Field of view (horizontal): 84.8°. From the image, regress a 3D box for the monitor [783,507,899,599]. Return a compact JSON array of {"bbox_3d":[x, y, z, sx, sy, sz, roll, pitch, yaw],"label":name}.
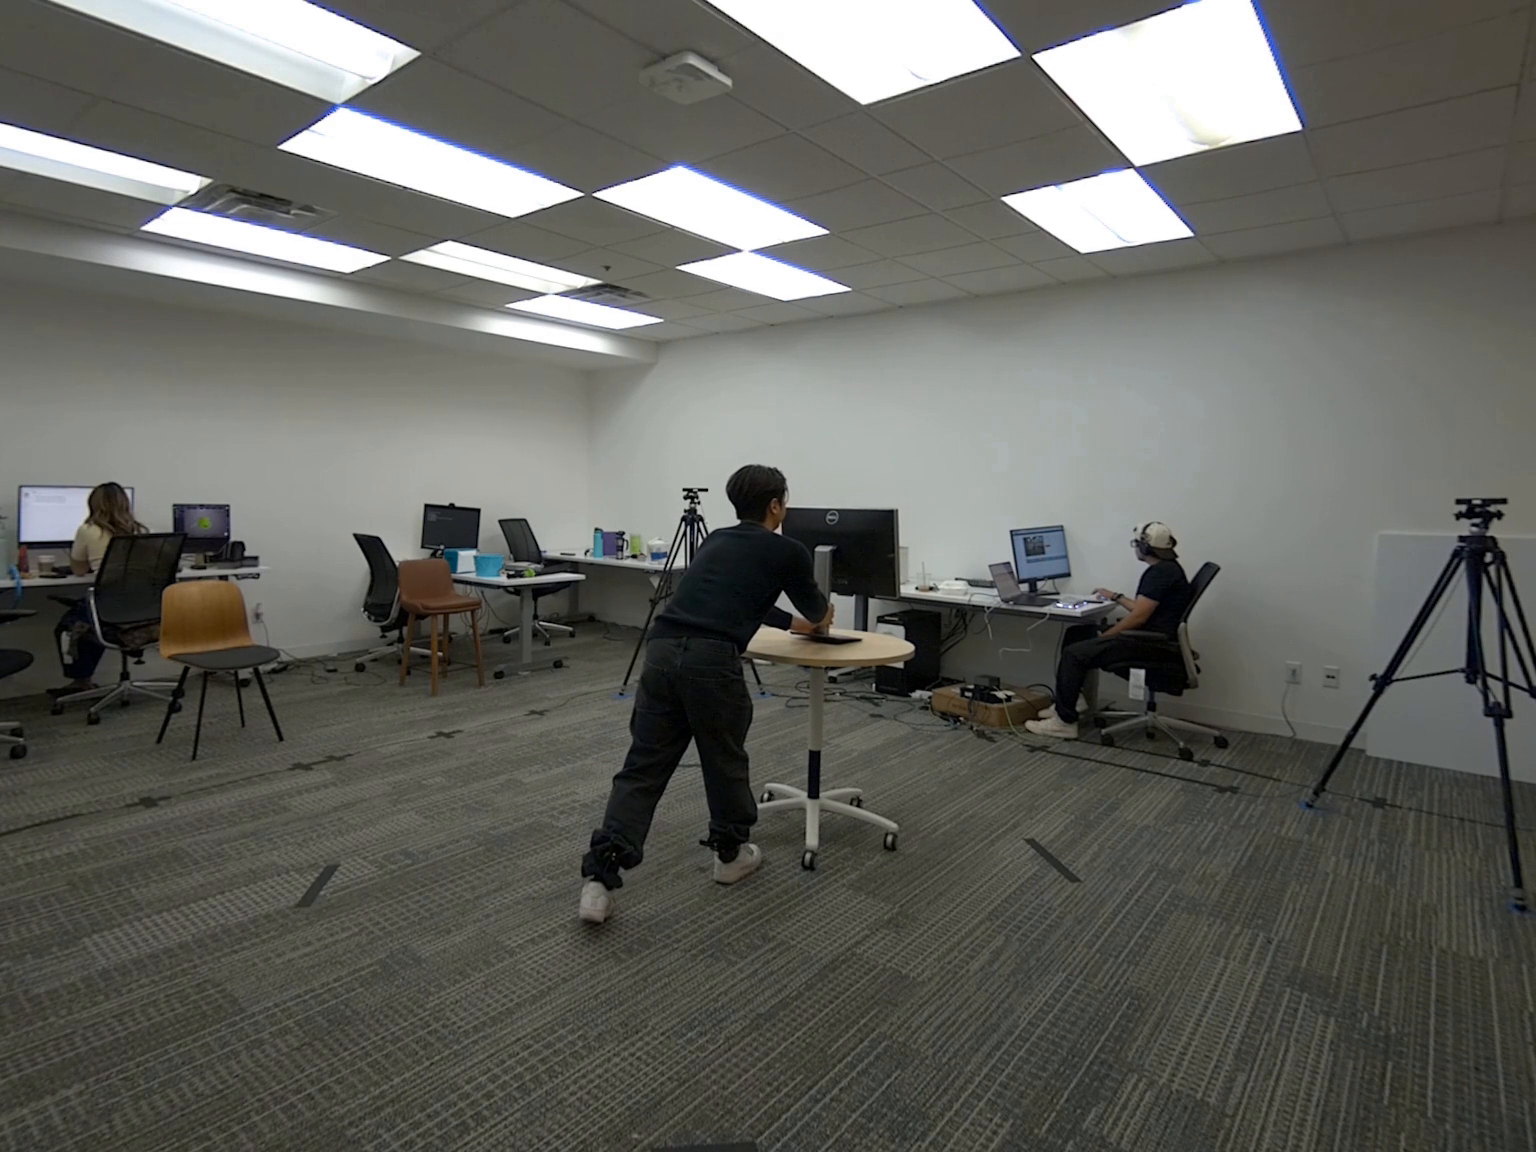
[{"bbox_3d":[0.254,-0.018,3.527,0.556,0.523,0.181,4,-2,35],"label":"monitor"}]
